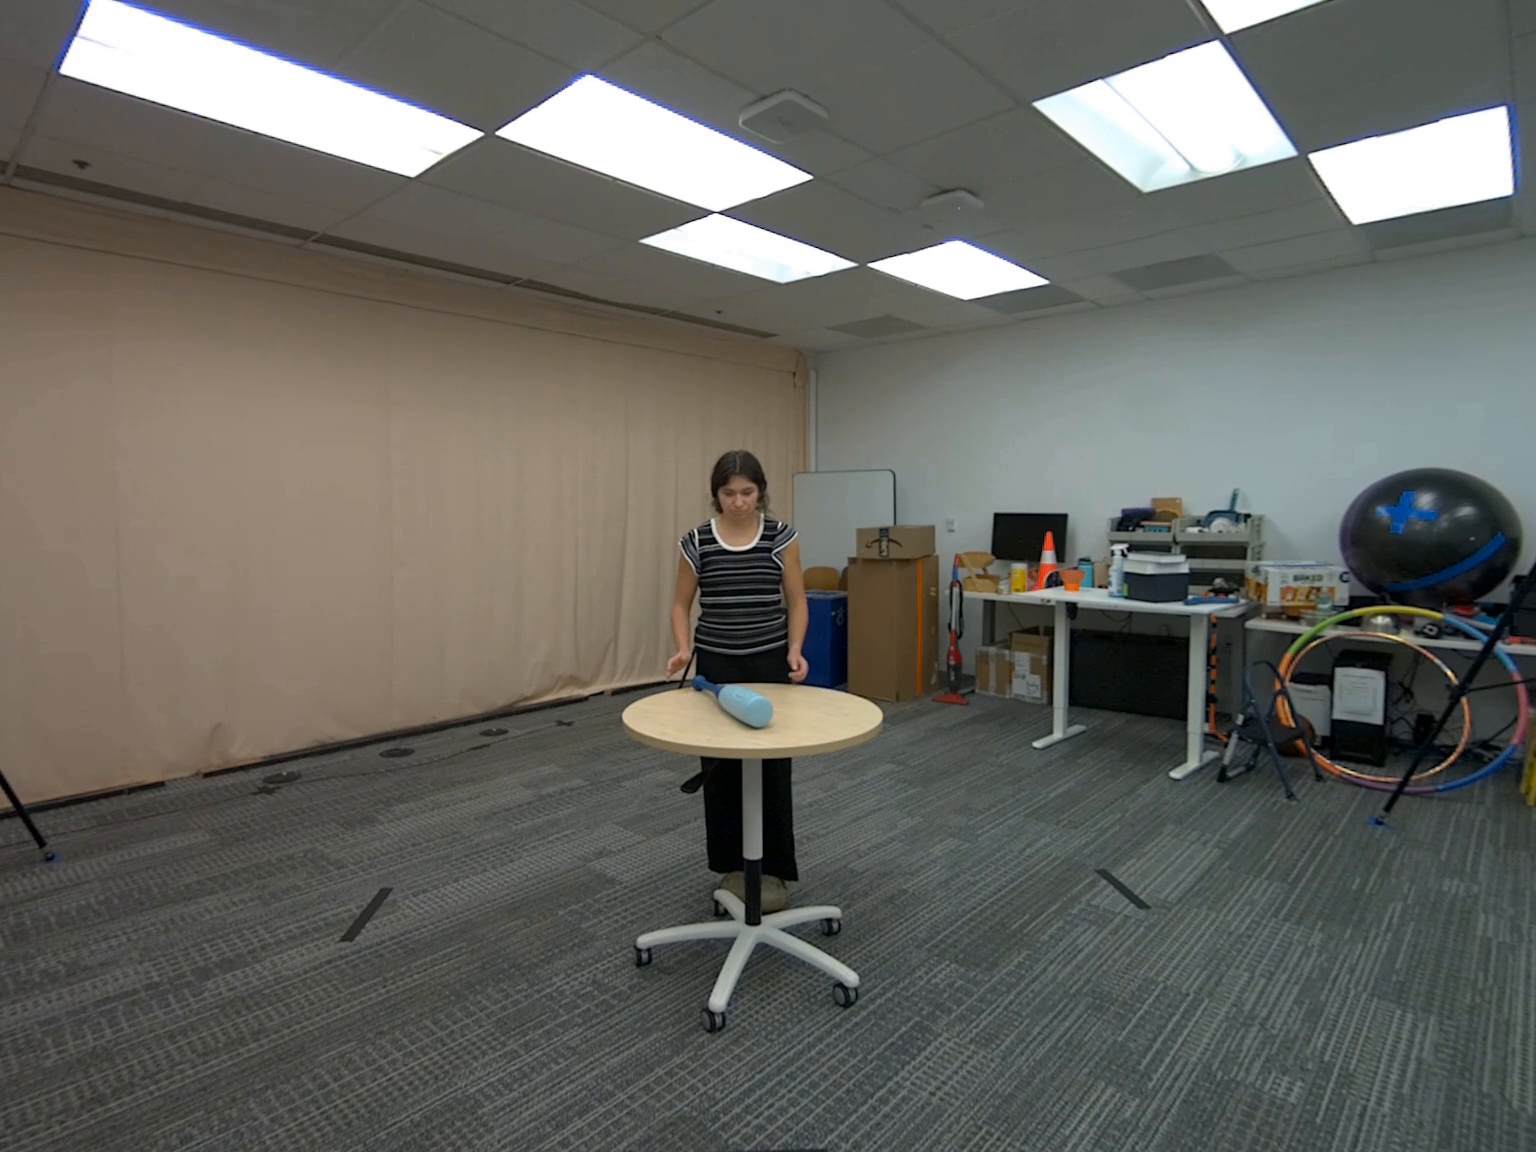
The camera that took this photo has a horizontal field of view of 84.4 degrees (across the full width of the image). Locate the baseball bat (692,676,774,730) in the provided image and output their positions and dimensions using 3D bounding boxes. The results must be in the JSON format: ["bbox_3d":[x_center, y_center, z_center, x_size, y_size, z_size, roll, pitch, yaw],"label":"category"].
[{"bbox_3d":[-0.128,0.361,2.534,0.087,0.089,0.555,-2,3,-23],"label":"baseball bat"}]
